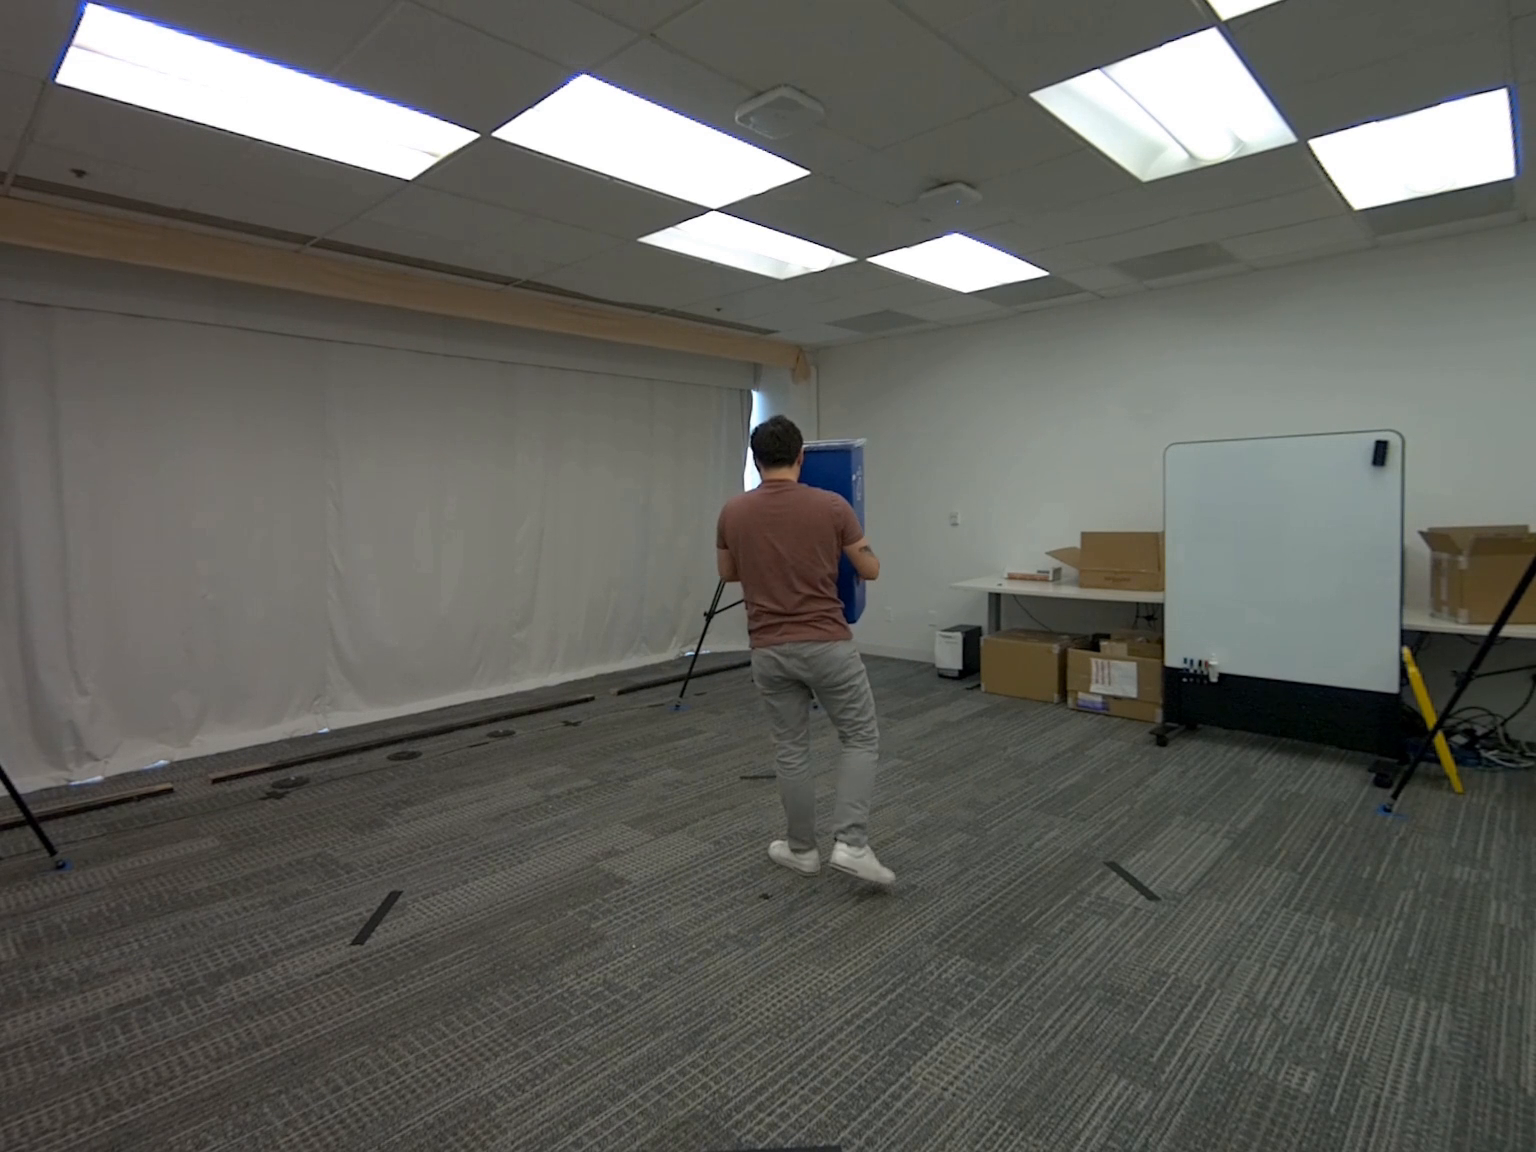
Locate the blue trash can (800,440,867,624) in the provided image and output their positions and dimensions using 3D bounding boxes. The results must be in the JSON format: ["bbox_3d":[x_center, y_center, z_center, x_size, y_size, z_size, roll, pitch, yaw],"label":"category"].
[{"bbox_3d":[0.216,-0.191,3.448,0.385,0.708,0.370,-1,10,16],"label":"blue trash can"}]
